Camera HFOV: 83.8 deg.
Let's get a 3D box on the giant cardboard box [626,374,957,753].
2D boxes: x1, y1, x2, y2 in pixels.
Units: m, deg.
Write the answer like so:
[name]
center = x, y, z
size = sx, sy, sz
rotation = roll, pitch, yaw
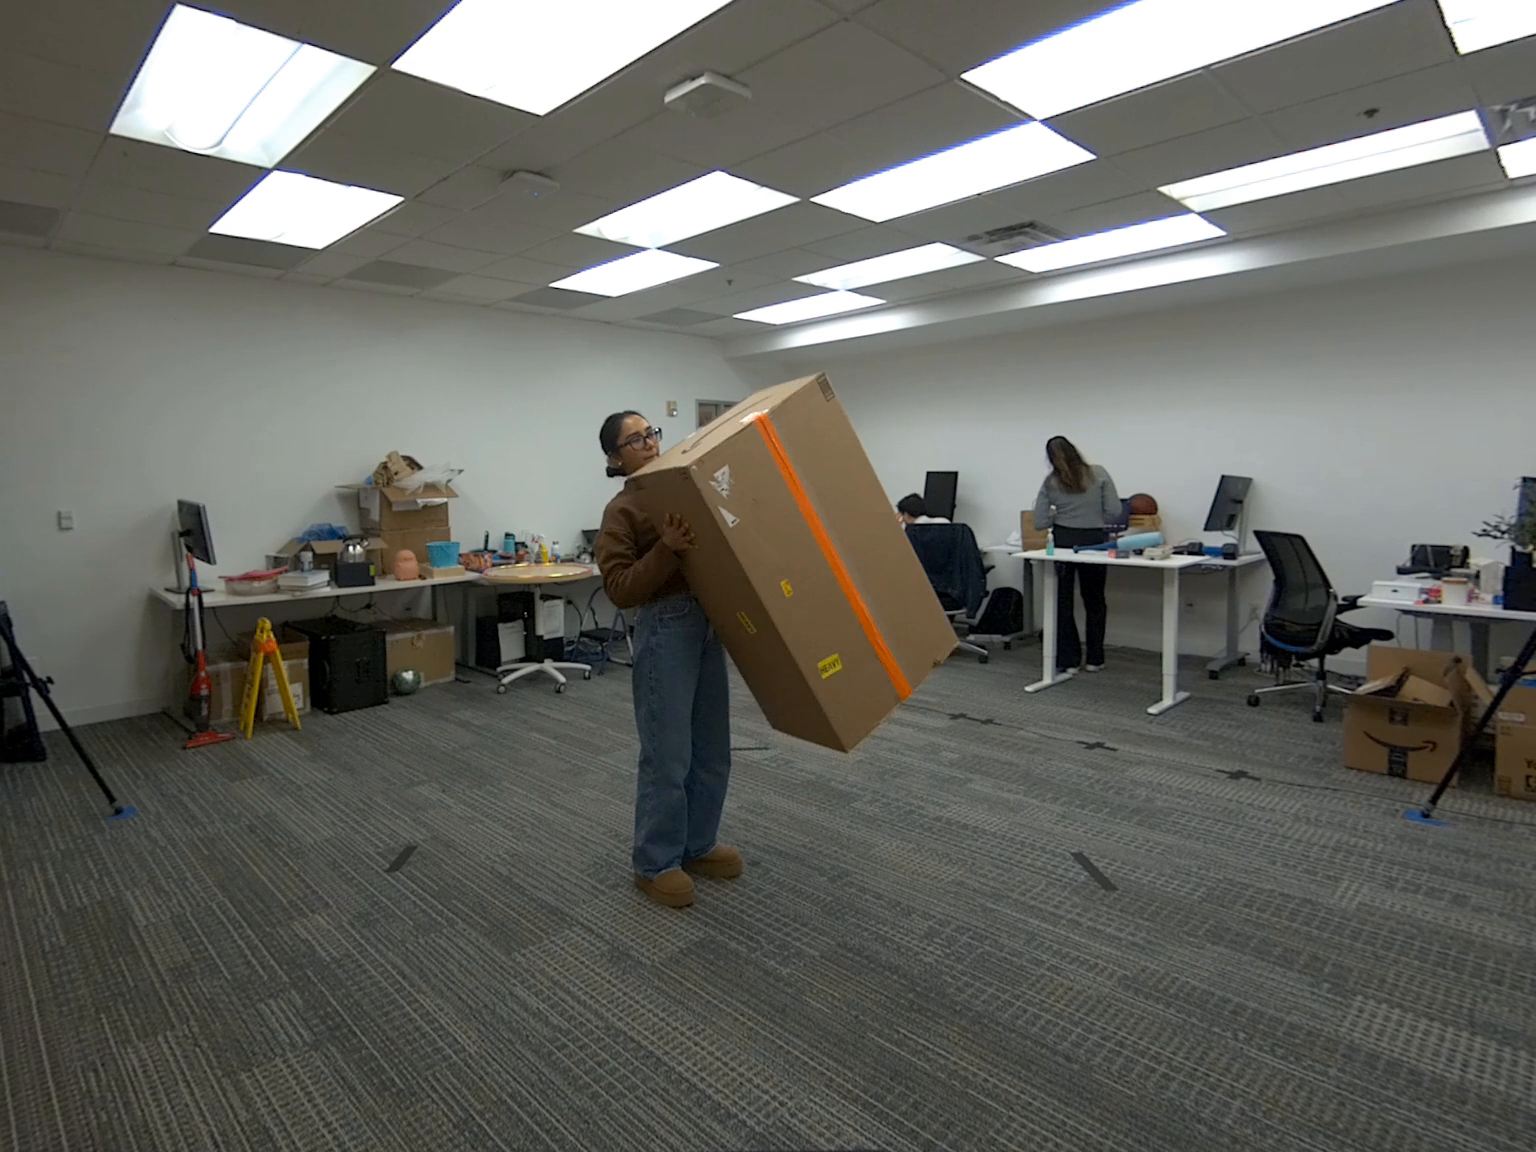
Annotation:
[giant cardboard box]
center = 0.098, -0.040, 2.786
size = 0.574, 1.007, 0.437
rotation = -37, 17, -26
